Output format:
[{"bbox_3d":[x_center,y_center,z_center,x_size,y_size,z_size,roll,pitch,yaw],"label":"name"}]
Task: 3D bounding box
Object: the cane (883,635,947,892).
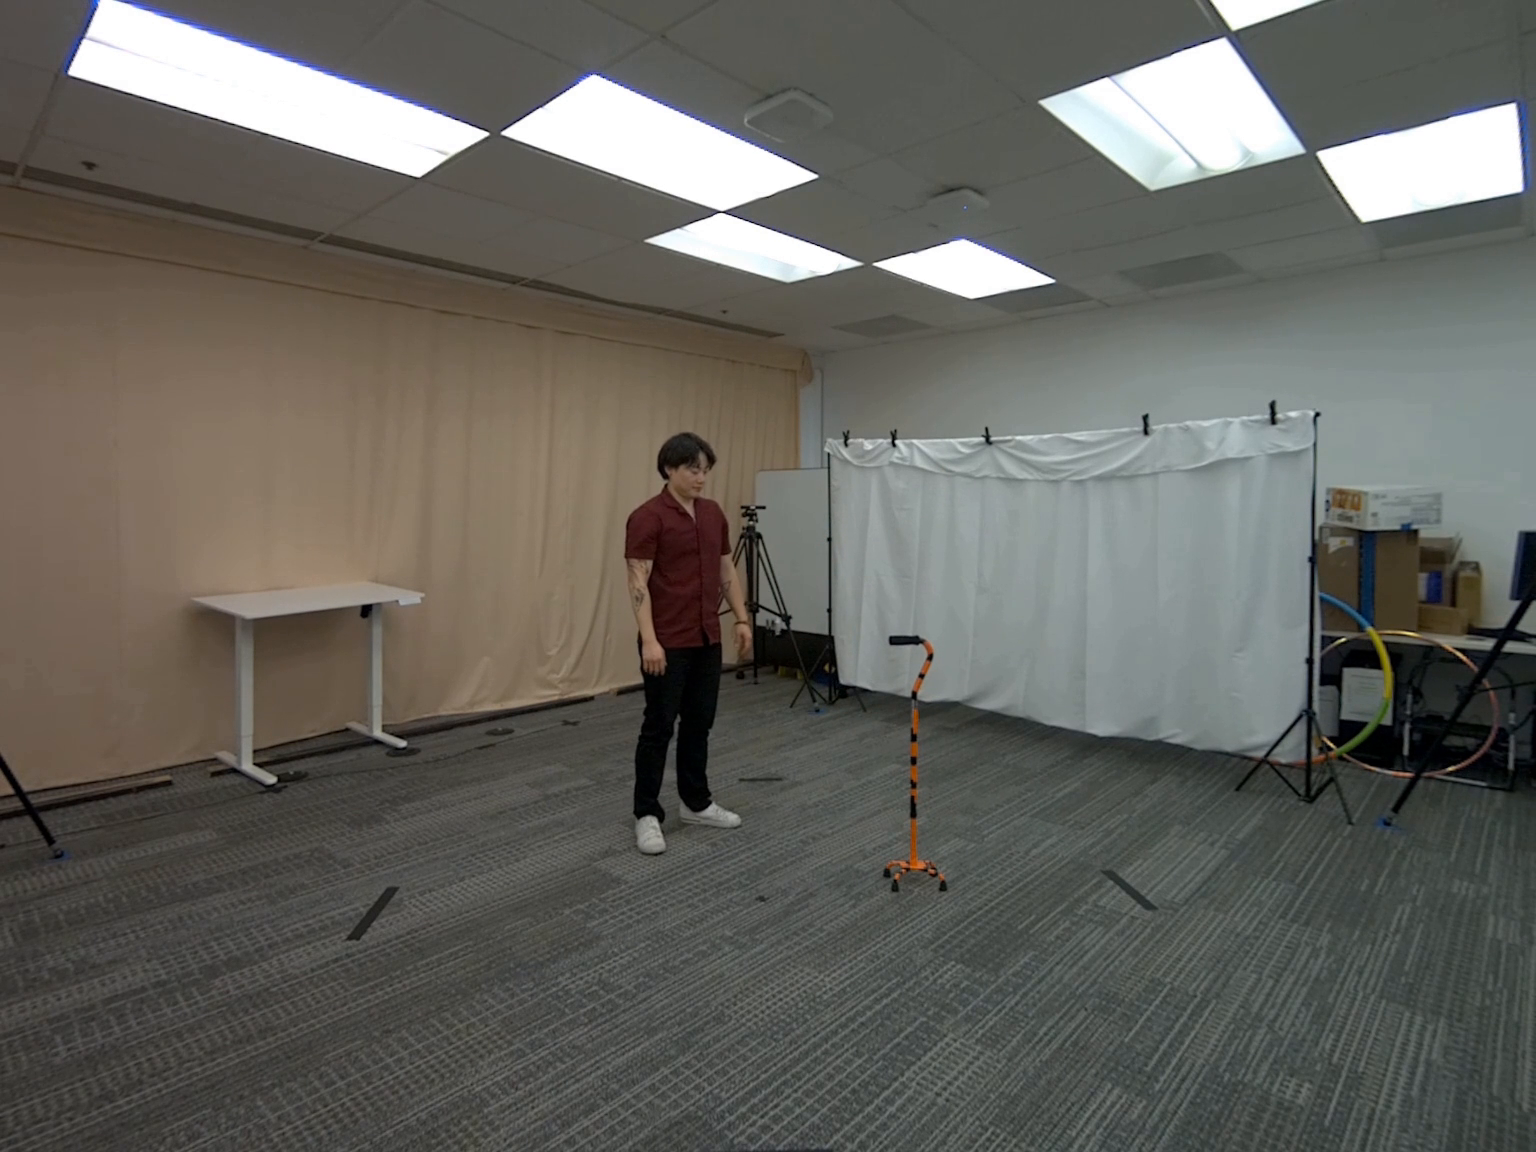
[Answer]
[{"bbox_3d":[0.550,0.683,3.088,0.206,0.907,0.152,0,2,-4],"label":"cane"}]
